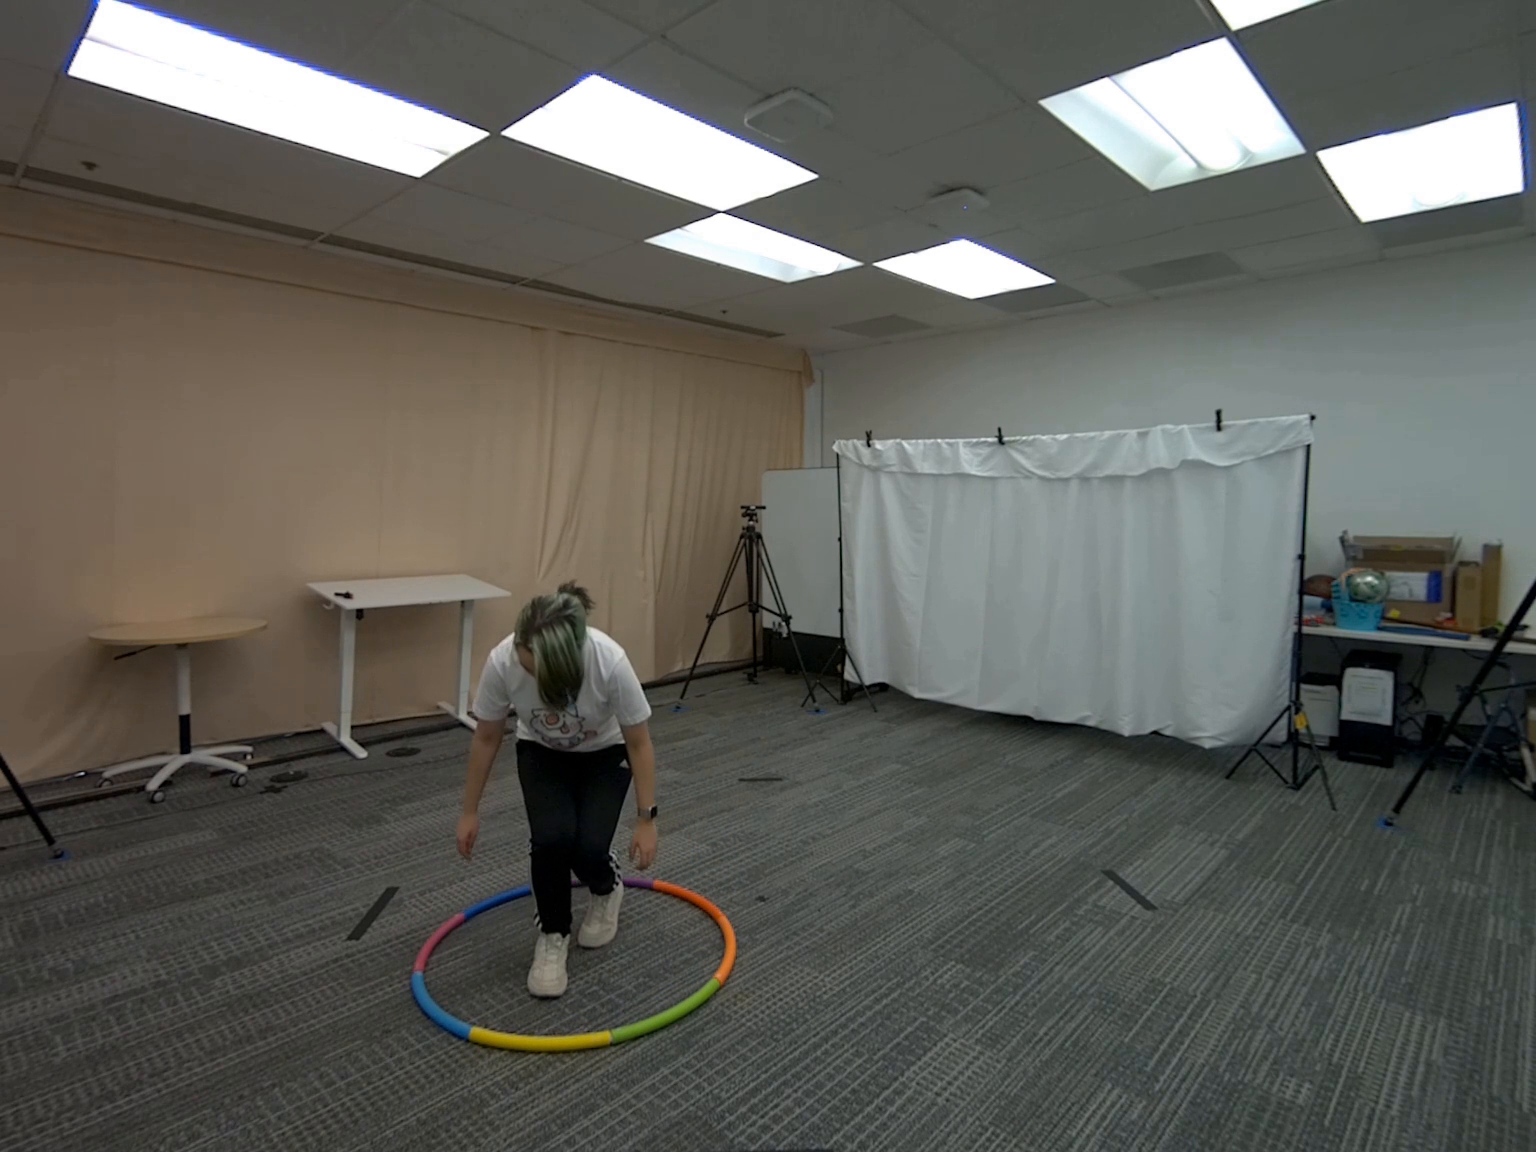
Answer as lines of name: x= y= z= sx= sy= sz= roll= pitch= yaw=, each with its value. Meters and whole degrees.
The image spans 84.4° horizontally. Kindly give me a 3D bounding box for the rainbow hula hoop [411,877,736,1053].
rainbow hula hoop: x=-0.589 y=1.152 z=2.631 sx=0.985 sy=0.051 sz=0.989 roll=0 pitch=4 yaw=-2
